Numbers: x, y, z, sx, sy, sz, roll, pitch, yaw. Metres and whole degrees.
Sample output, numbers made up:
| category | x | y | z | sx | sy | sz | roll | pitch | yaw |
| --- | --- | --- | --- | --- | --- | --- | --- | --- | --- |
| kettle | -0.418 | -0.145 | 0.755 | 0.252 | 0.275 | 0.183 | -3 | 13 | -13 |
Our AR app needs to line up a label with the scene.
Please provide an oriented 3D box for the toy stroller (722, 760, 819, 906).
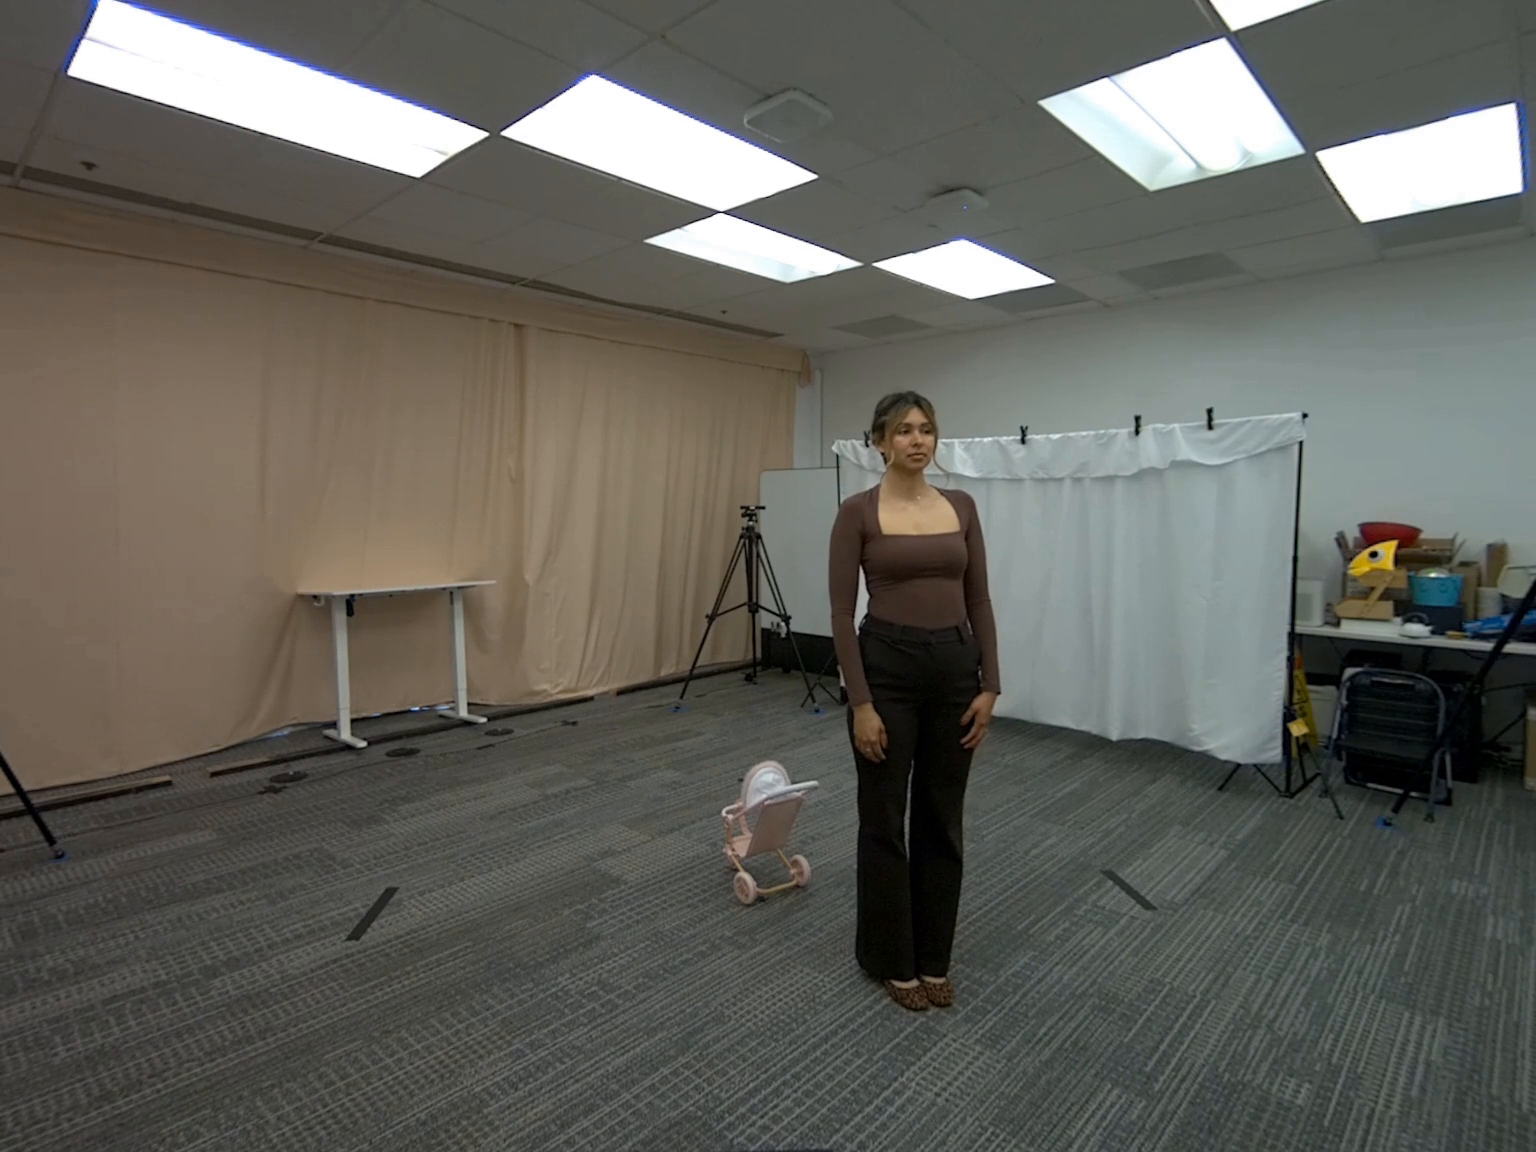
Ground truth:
| category | x | y | z | sx | sy | sz | roll | pitch | yaw |
| --- | --- | --- | --- | --- | --- | --- | --- | --- | --- |
| toy stroller | -0.016 | 0.909 | 3.063 | 0.274 | 0.531 | 0.353 | -2 | 19 | -31 |
